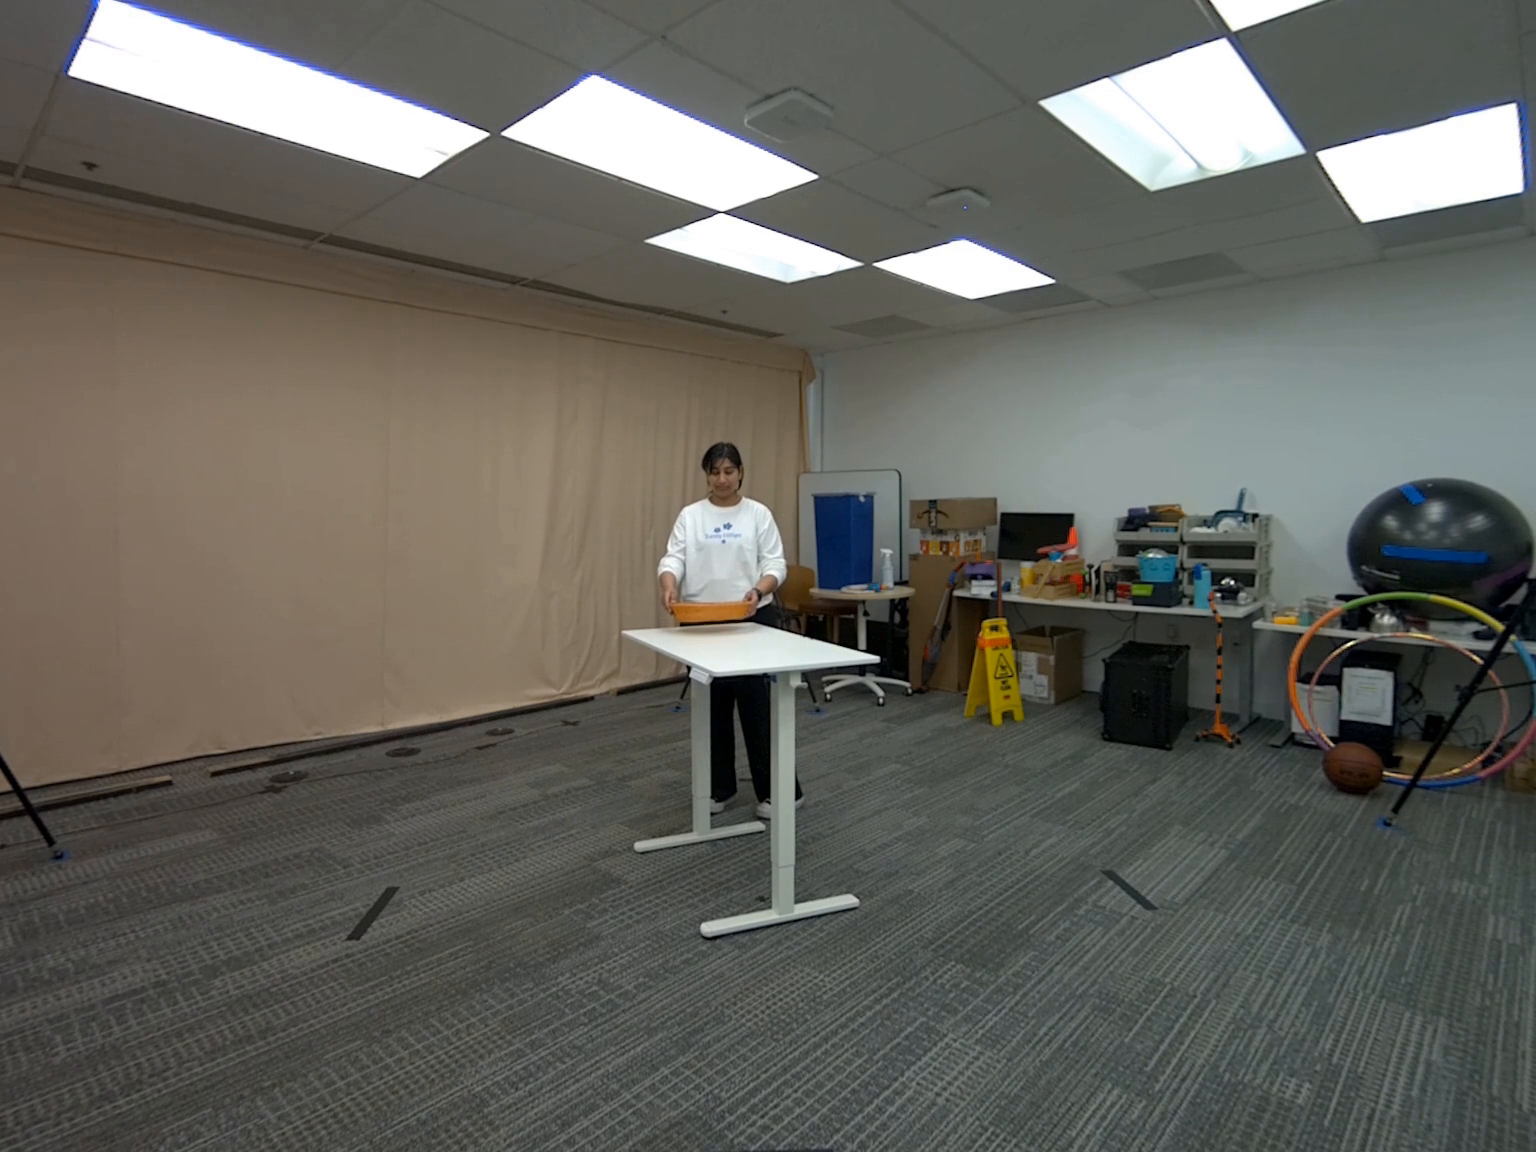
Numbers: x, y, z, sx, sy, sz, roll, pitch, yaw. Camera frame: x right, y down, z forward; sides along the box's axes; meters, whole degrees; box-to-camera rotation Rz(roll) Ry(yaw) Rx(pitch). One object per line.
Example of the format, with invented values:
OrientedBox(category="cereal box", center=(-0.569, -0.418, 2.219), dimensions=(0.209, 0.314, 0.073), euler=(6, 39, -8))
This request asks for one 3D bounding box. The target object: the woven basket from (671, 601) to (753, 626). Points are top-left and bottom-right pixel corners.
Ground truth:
OrientedBox(category="woven basket", center=(-0.253, 0.145, 3.485), dimensions=(0.341, 0.073, 0.259), euler=(-2, 2, -27))
